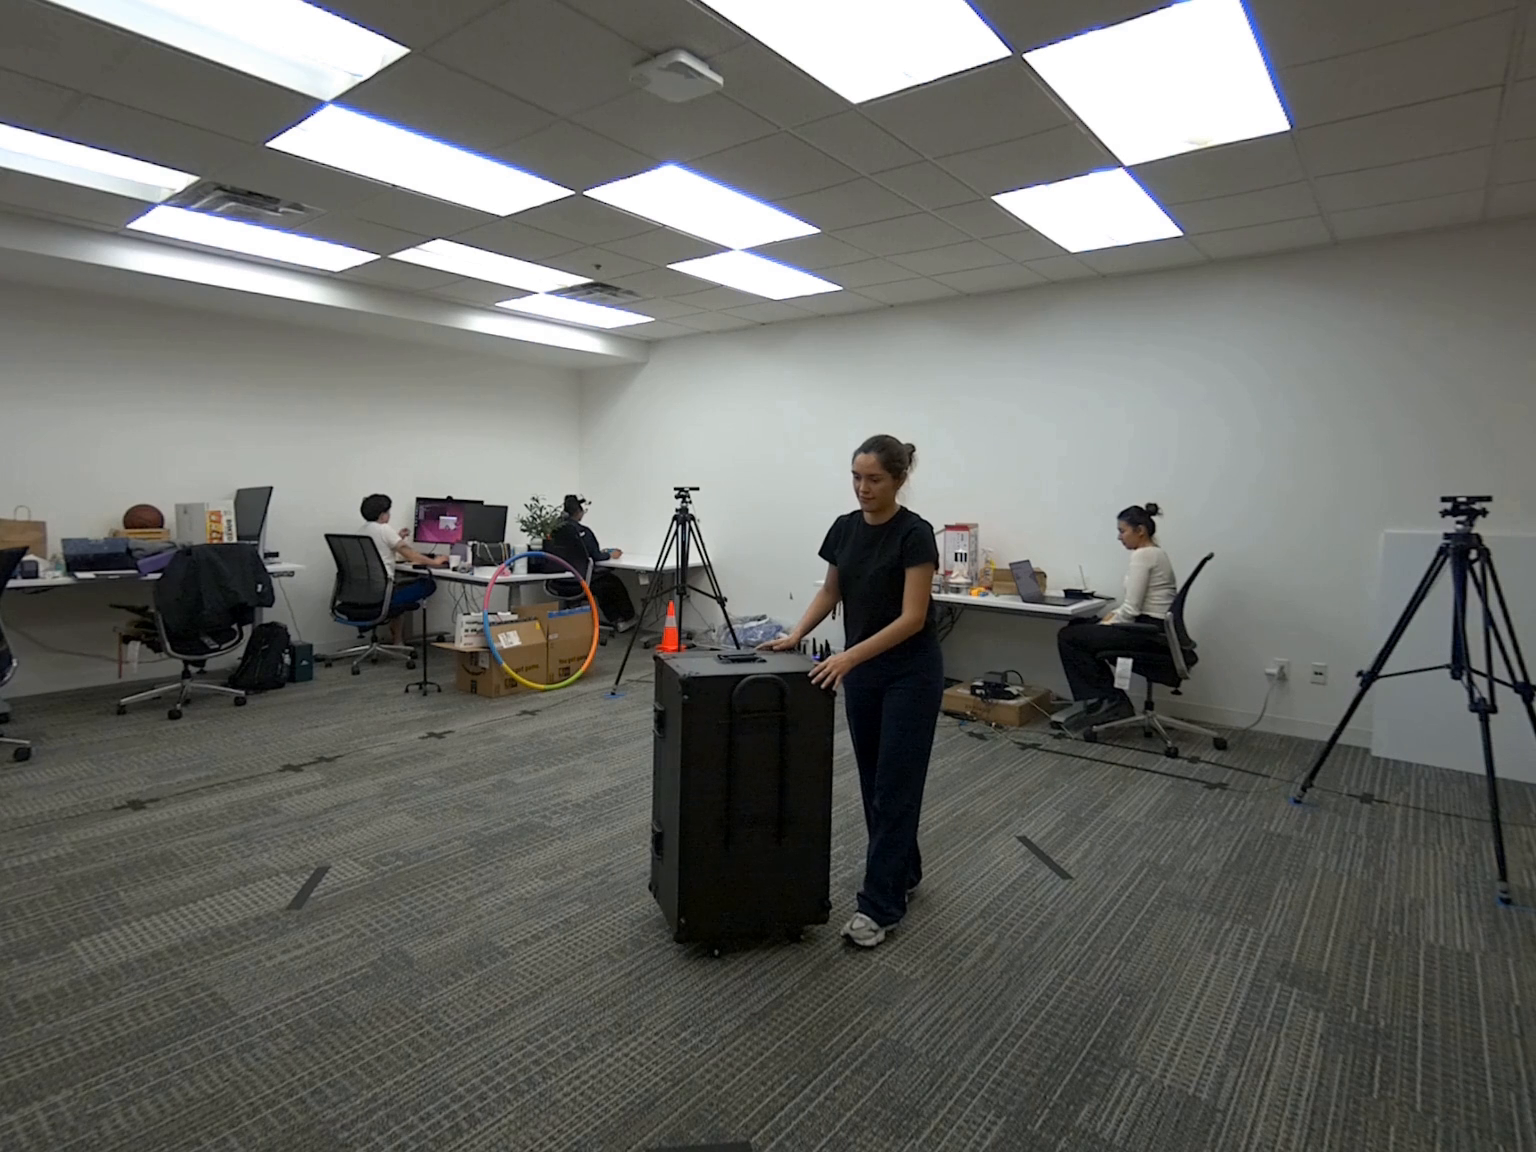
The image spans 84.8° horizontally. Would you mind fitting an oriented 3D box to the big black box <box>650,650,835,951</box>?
[{"bbox_3d":[-0.080,0.700,2.670,0.512,0.858,0.405,0,4,-18],"label":"big black box"}]
